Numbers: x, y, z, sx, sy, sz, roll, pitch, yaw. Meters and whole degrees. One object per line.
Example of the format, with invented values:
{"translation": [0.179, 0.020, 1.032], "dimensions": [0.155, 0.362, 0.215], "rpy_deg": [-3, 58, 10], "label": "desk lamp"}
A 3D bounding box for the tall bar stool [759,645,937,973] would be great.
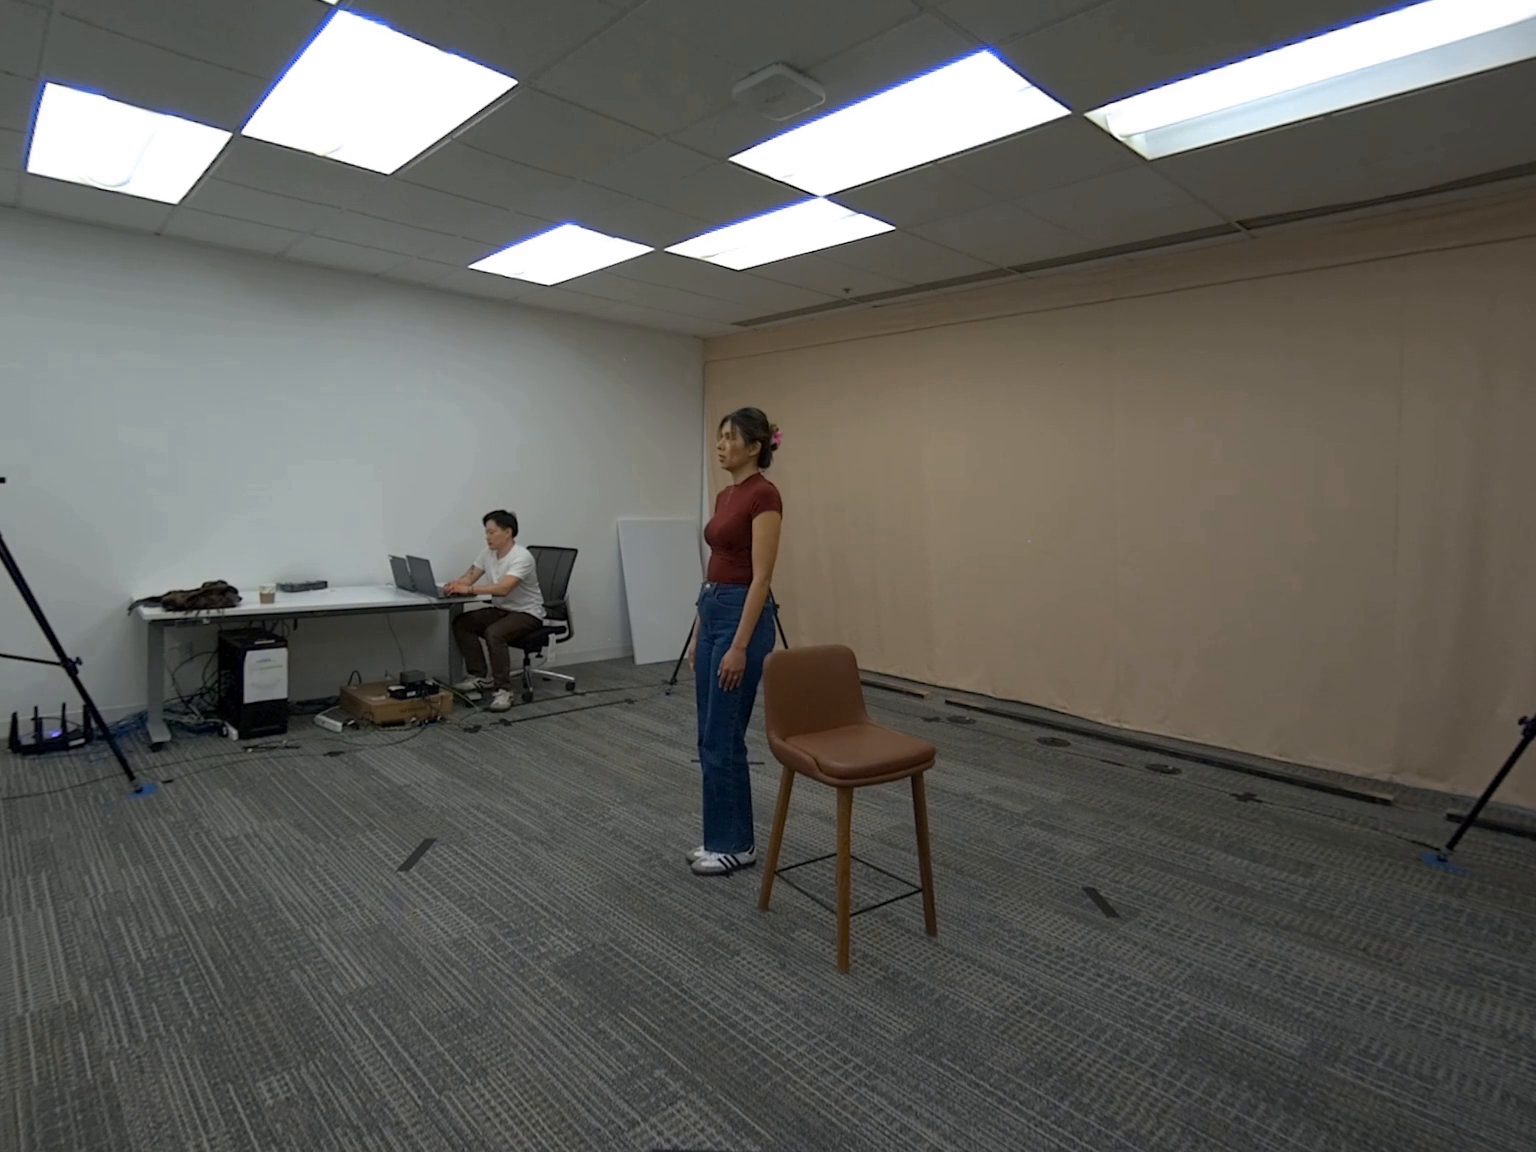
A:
{"translation": [0.250, 0.709, 2.747], "dimensions": [0.446, 0.888, 0.478], "rpy_deg": [-1, 2, -35], "label": "tall bar stool"}
